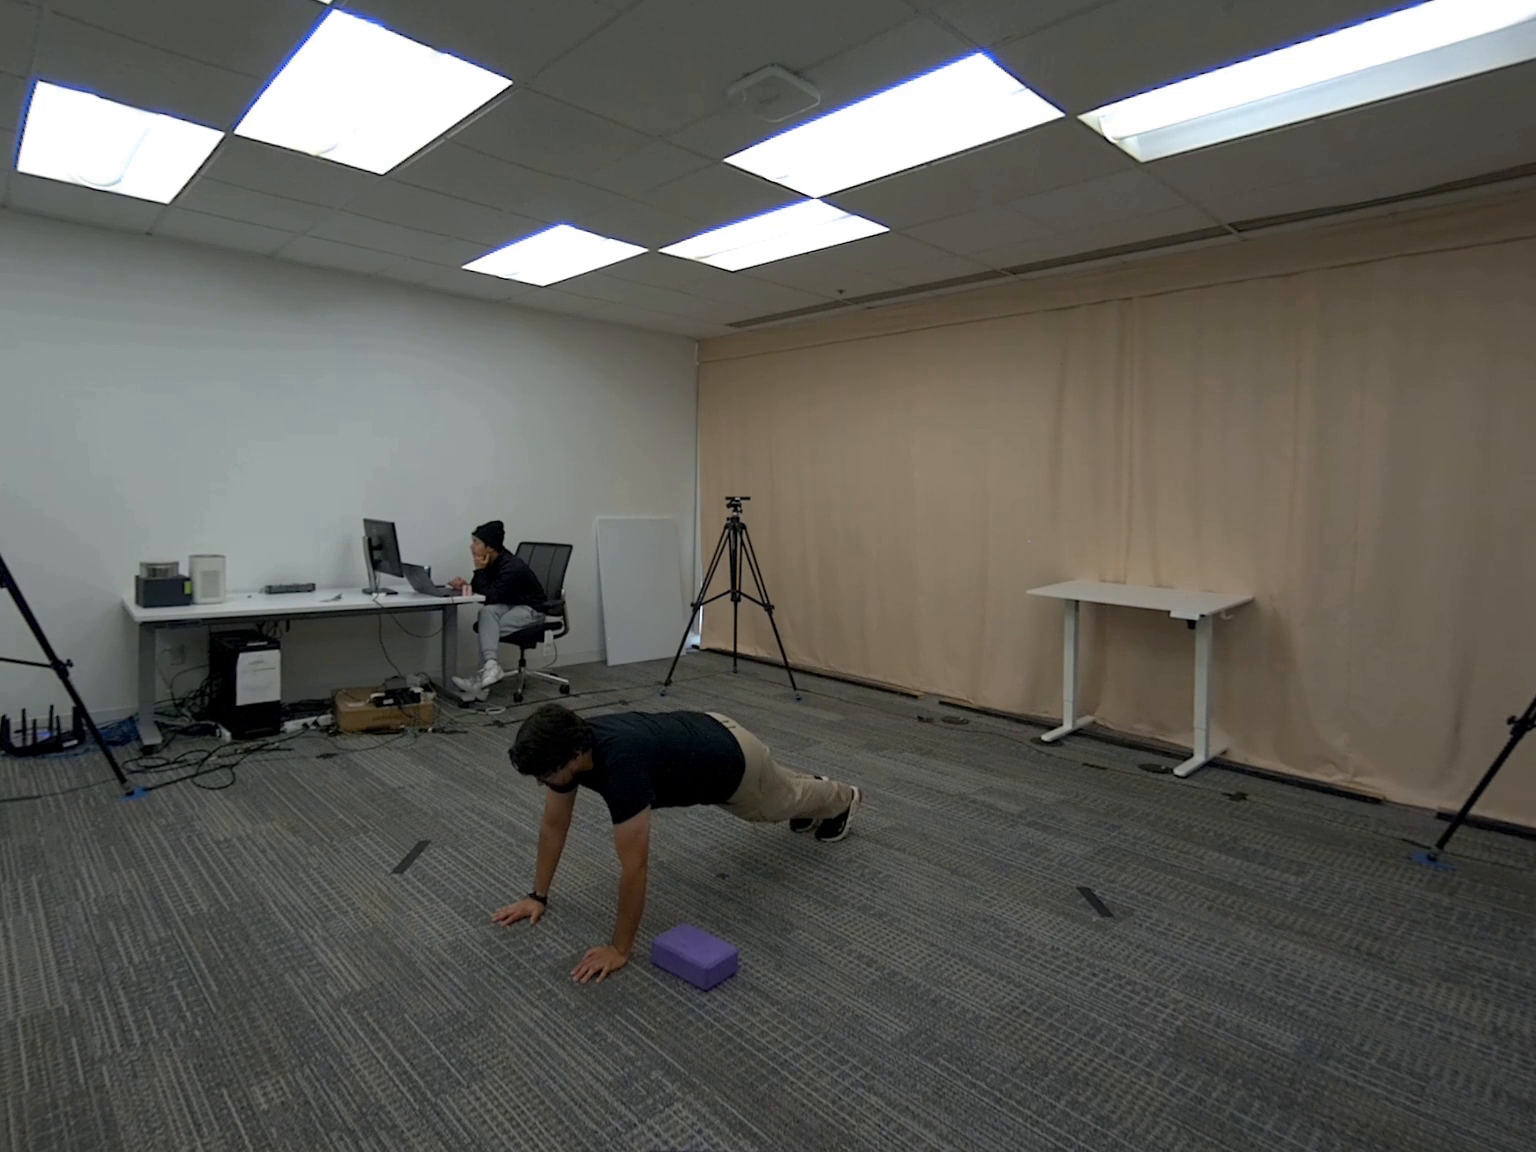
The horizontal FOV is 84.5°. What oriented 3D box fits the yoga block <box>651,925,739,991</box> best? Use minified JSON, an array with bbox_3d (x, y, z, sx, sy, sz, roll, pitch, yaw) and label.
[{"bbox_3d":[-0.225,1.123,2.482,0.235,0.076,0.146,5,8,39],"label":"yoga block"}]
